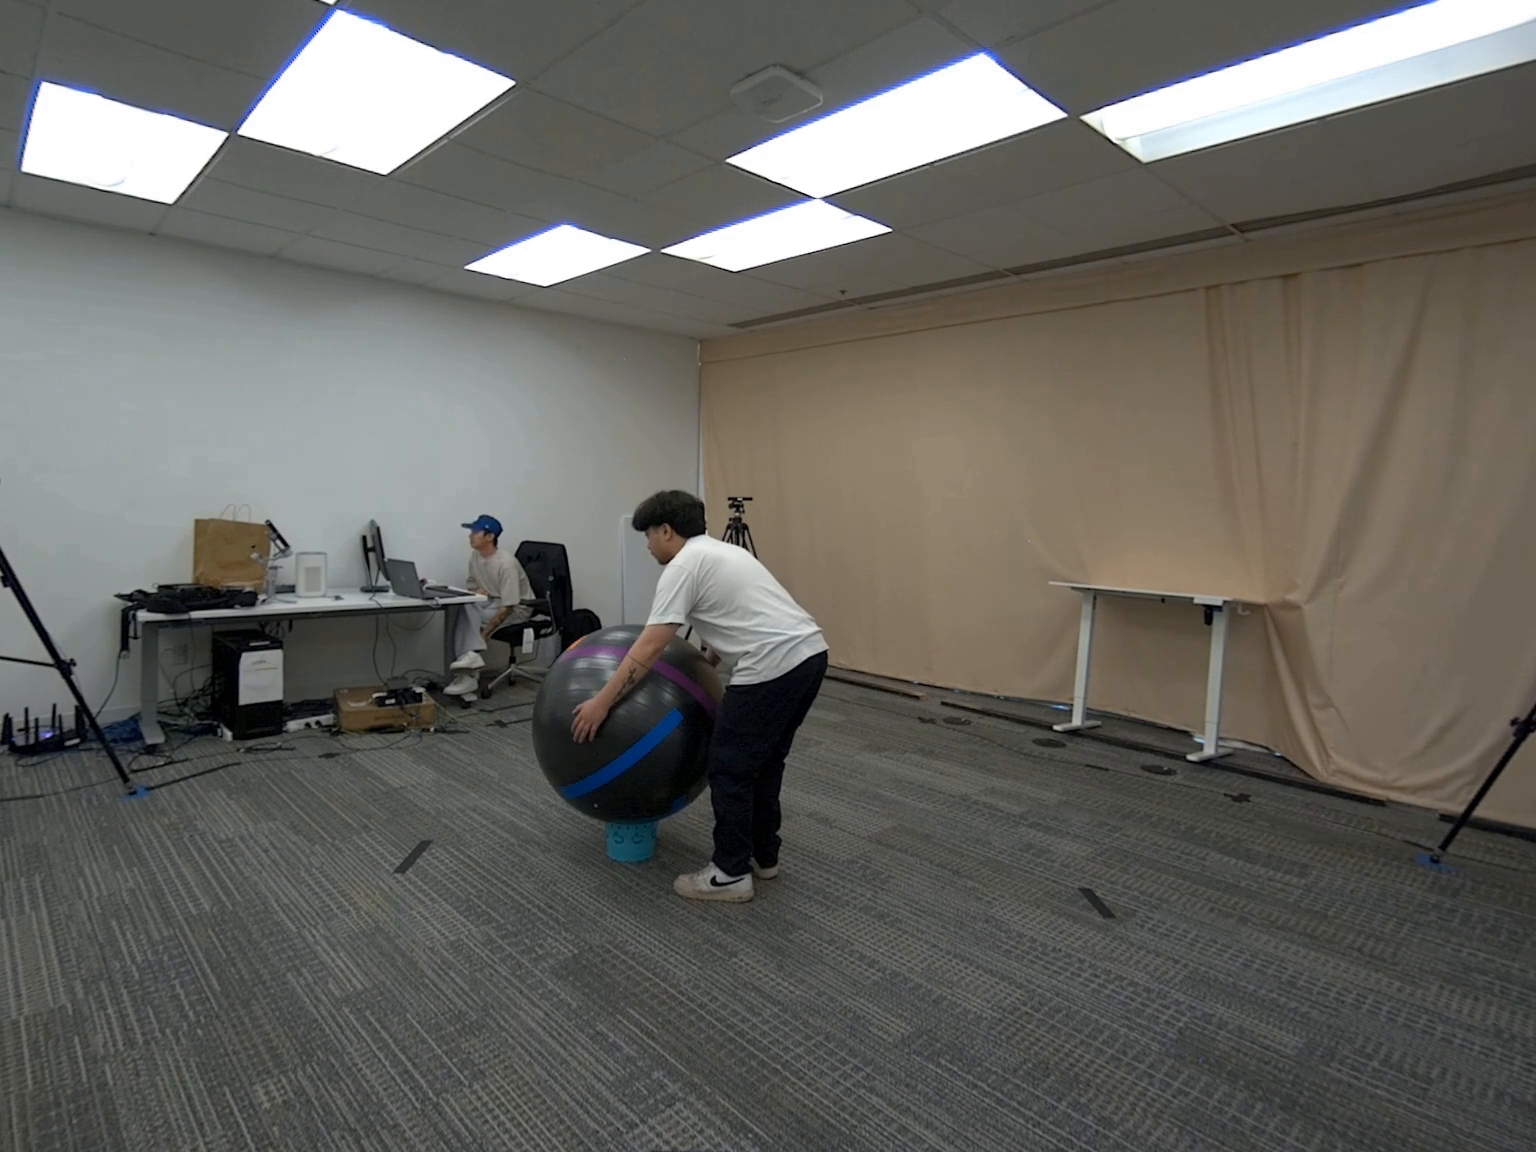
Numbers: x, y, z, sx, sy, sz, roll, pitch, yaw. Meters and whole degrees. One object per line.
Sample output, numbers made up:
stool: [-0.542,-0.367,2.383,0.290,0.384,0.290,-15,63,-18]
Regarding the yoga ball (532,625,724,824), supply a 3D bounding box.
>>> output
yoga ball: [-0.536,0.573,3.274,0.757,0.756,0.760,1,4,-1]
